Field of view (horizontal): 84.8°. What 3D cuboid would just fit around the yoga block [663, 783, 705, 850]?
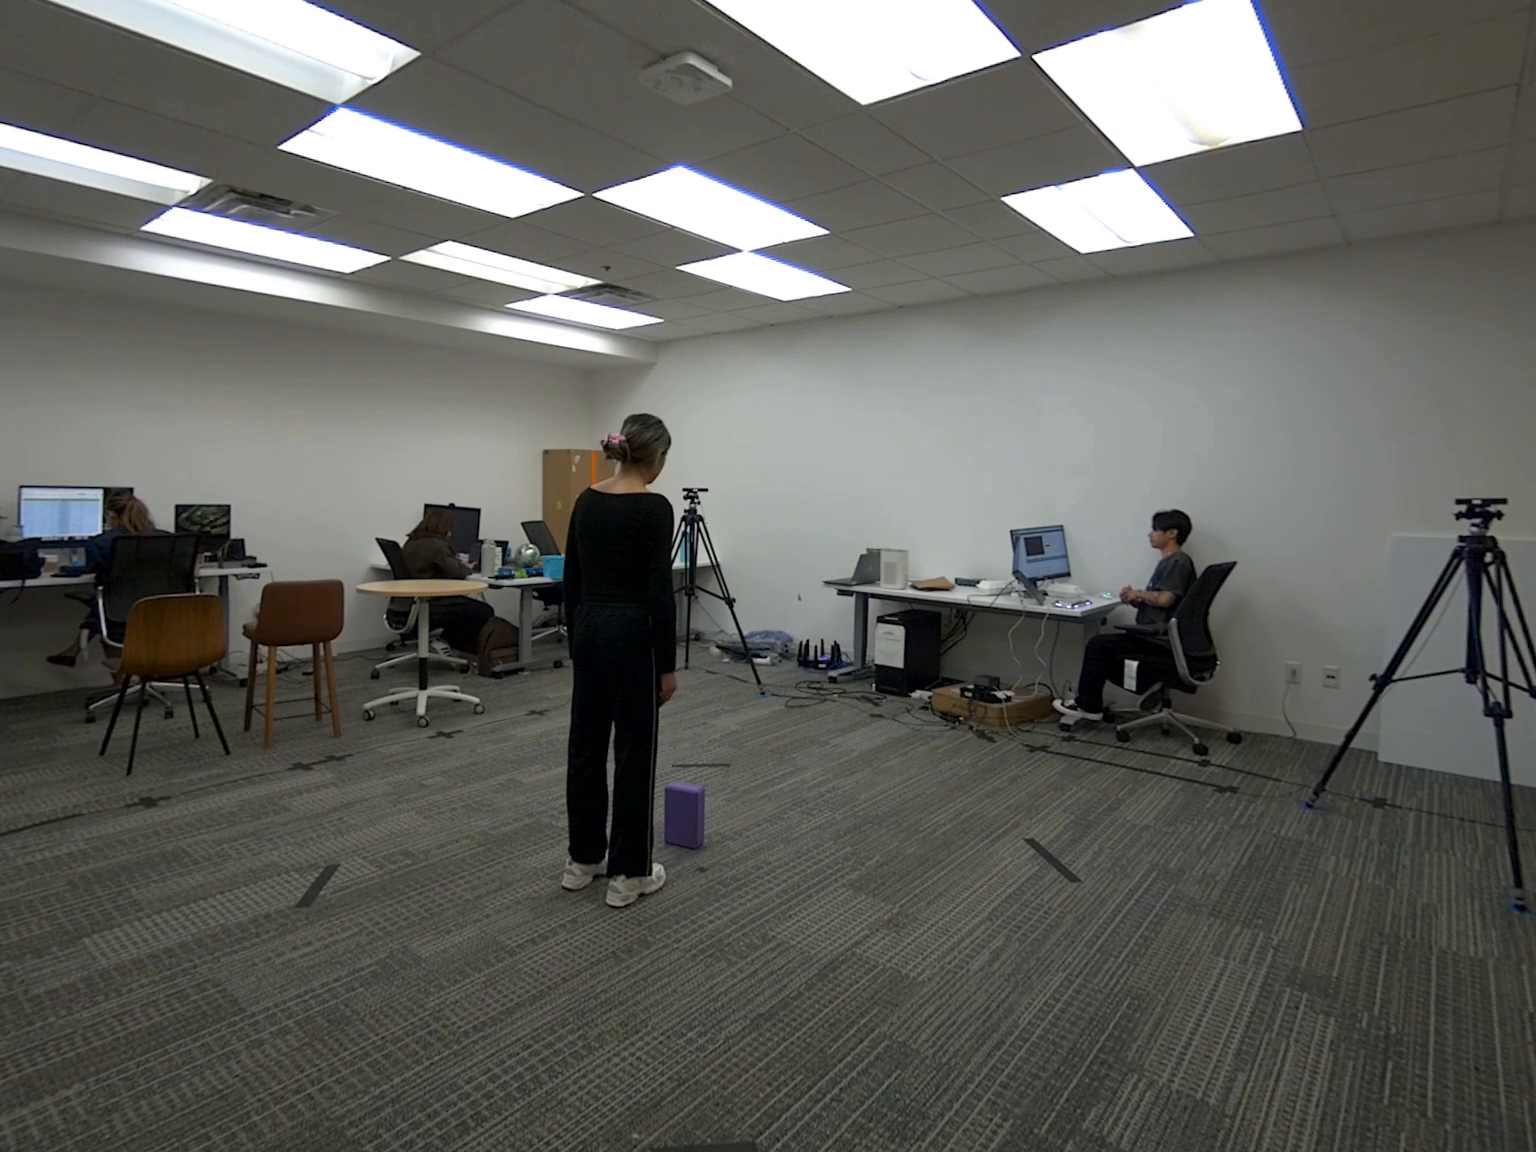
[{"bbox_3d":[-0.340,0.931,3.331,0.153,0.229,0.075,2,2,24],"label":"yoga block"}]
